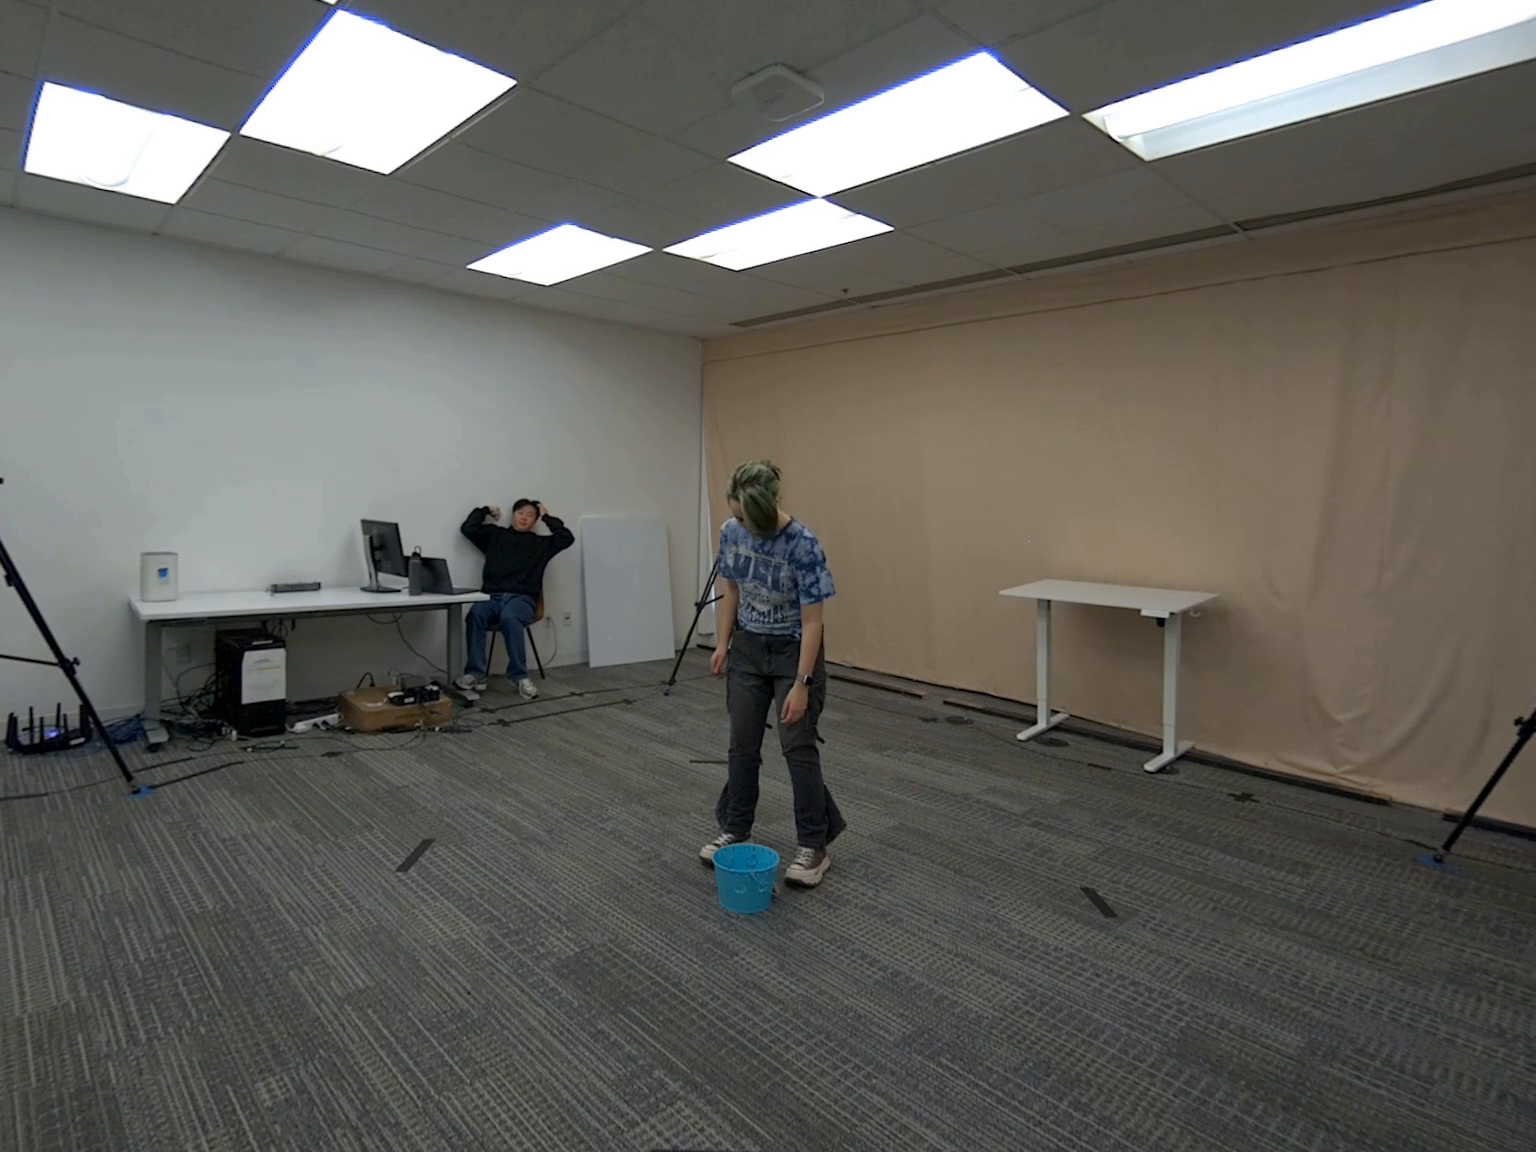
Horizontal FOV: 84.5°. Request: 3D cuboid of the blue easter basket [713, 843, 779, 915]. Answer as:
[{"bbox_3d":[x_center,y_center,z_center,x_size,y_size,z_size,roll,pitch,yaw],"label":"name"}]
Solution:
[{"bbox_3d":[-0.078,1.046,2.902,0.243,0.155,0.245,1,6,-1],"label":"blue easter basket"}]
